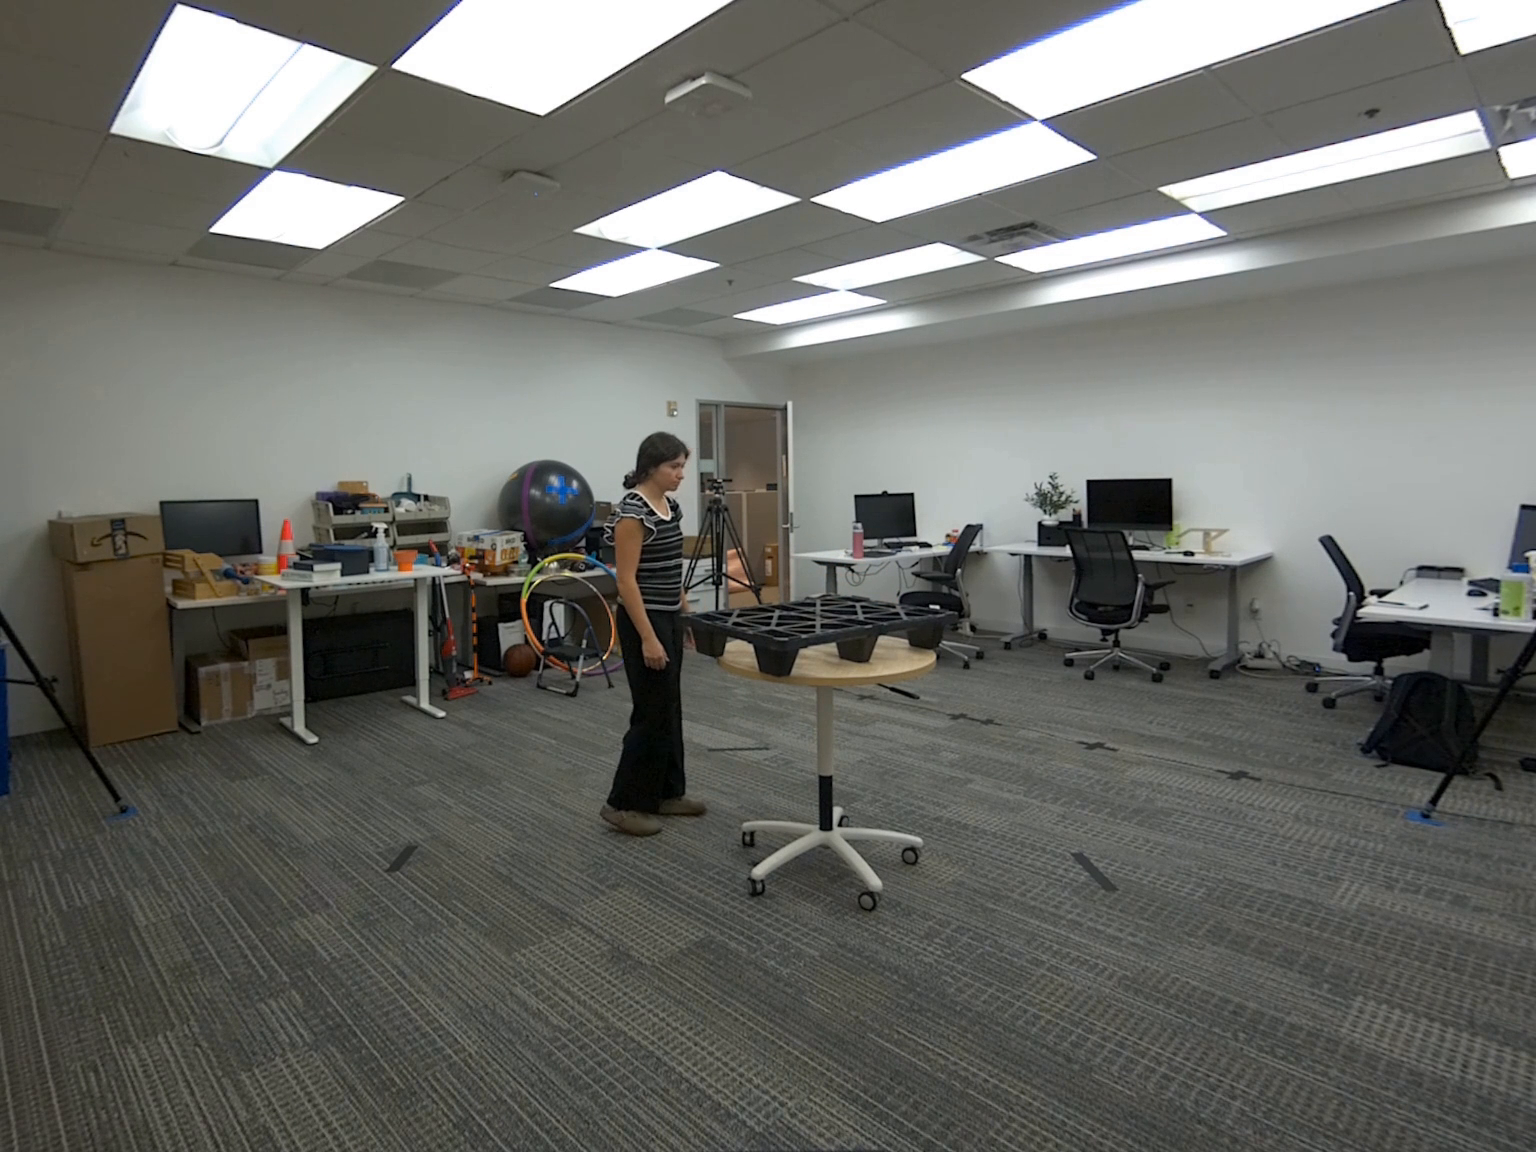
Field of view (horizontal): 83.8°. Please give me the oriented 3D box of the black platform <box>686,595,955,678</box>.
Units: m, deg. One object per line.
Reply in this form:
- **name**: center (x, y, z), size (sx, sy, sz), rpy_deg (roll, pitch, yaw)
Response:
- **black platform**: center (0.185, 0.201, 3.033), size (0.785, 0.142, 0.624), rpy_deg (-6, 9, -35)
